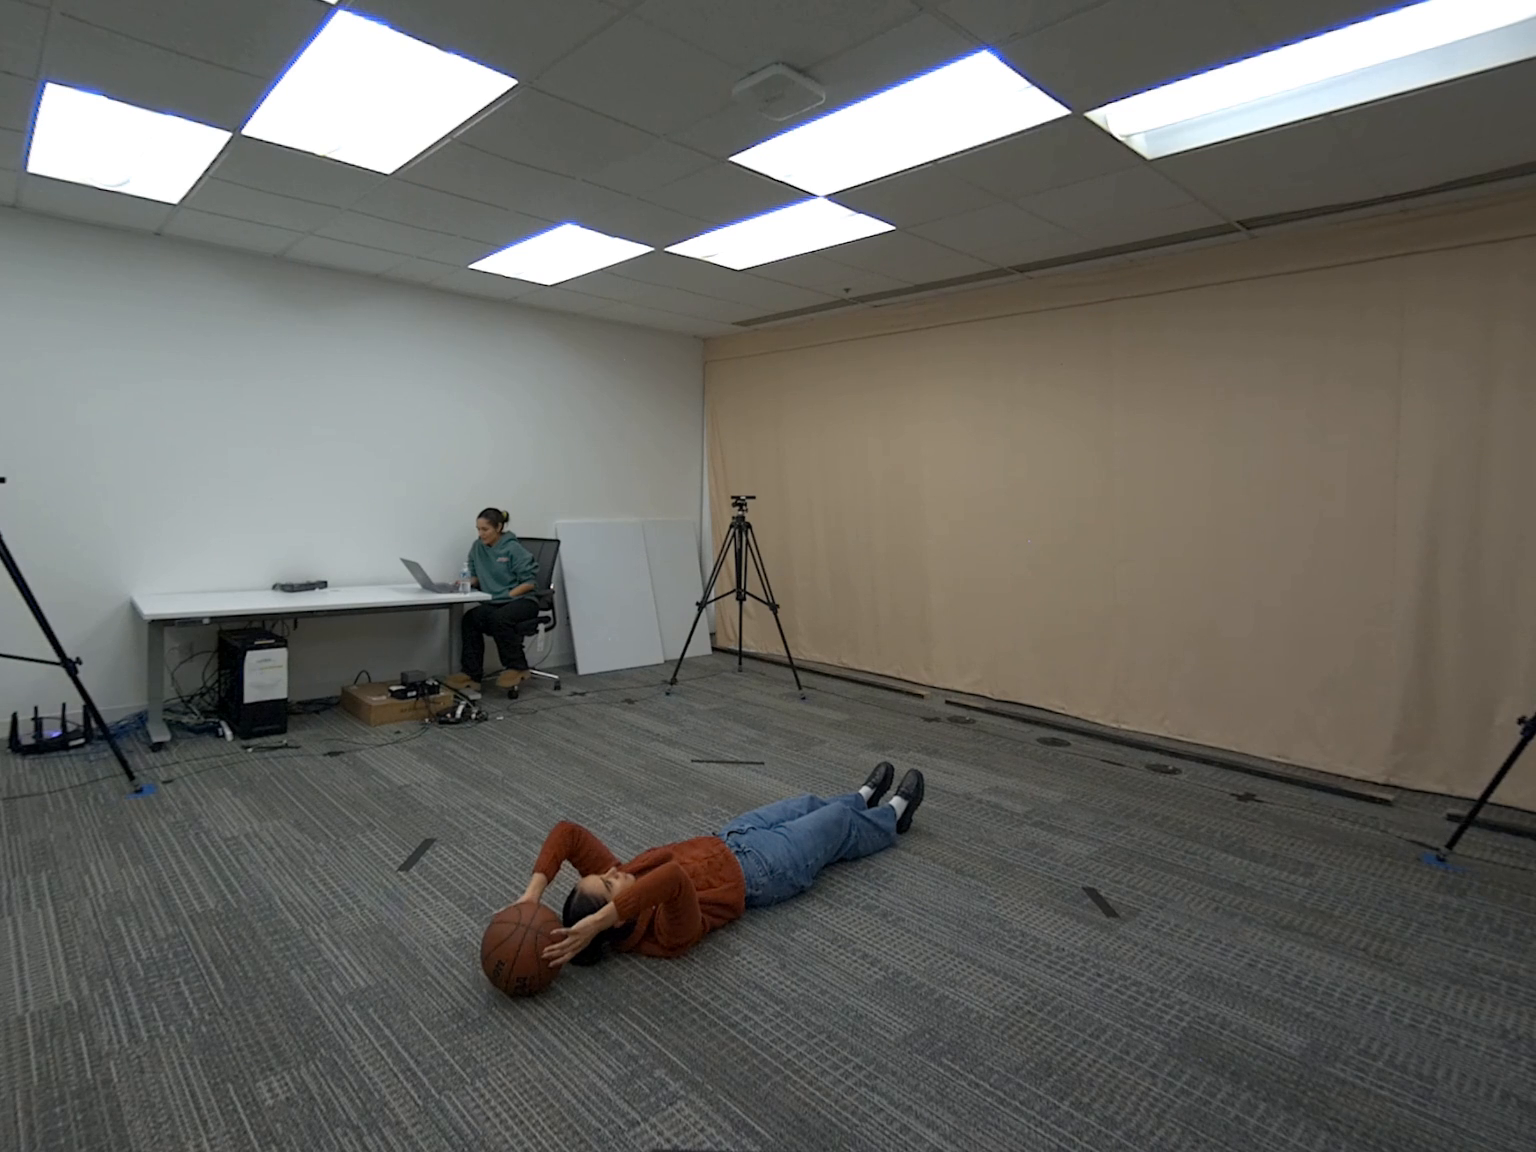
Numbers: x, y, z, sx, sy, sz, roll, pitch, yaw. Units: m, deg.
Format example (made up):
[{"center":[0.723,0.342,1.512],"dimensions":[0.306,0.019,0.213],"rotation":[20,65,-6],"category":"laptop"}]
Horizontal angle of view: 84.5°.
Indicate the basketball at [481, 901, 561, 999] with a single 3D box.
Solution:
[{"center":[-0.694,1.045,2.353],"dimensions":[0.236,0.234,0.237],"rotation":[0,8,-1],"category":"basketball"}]
